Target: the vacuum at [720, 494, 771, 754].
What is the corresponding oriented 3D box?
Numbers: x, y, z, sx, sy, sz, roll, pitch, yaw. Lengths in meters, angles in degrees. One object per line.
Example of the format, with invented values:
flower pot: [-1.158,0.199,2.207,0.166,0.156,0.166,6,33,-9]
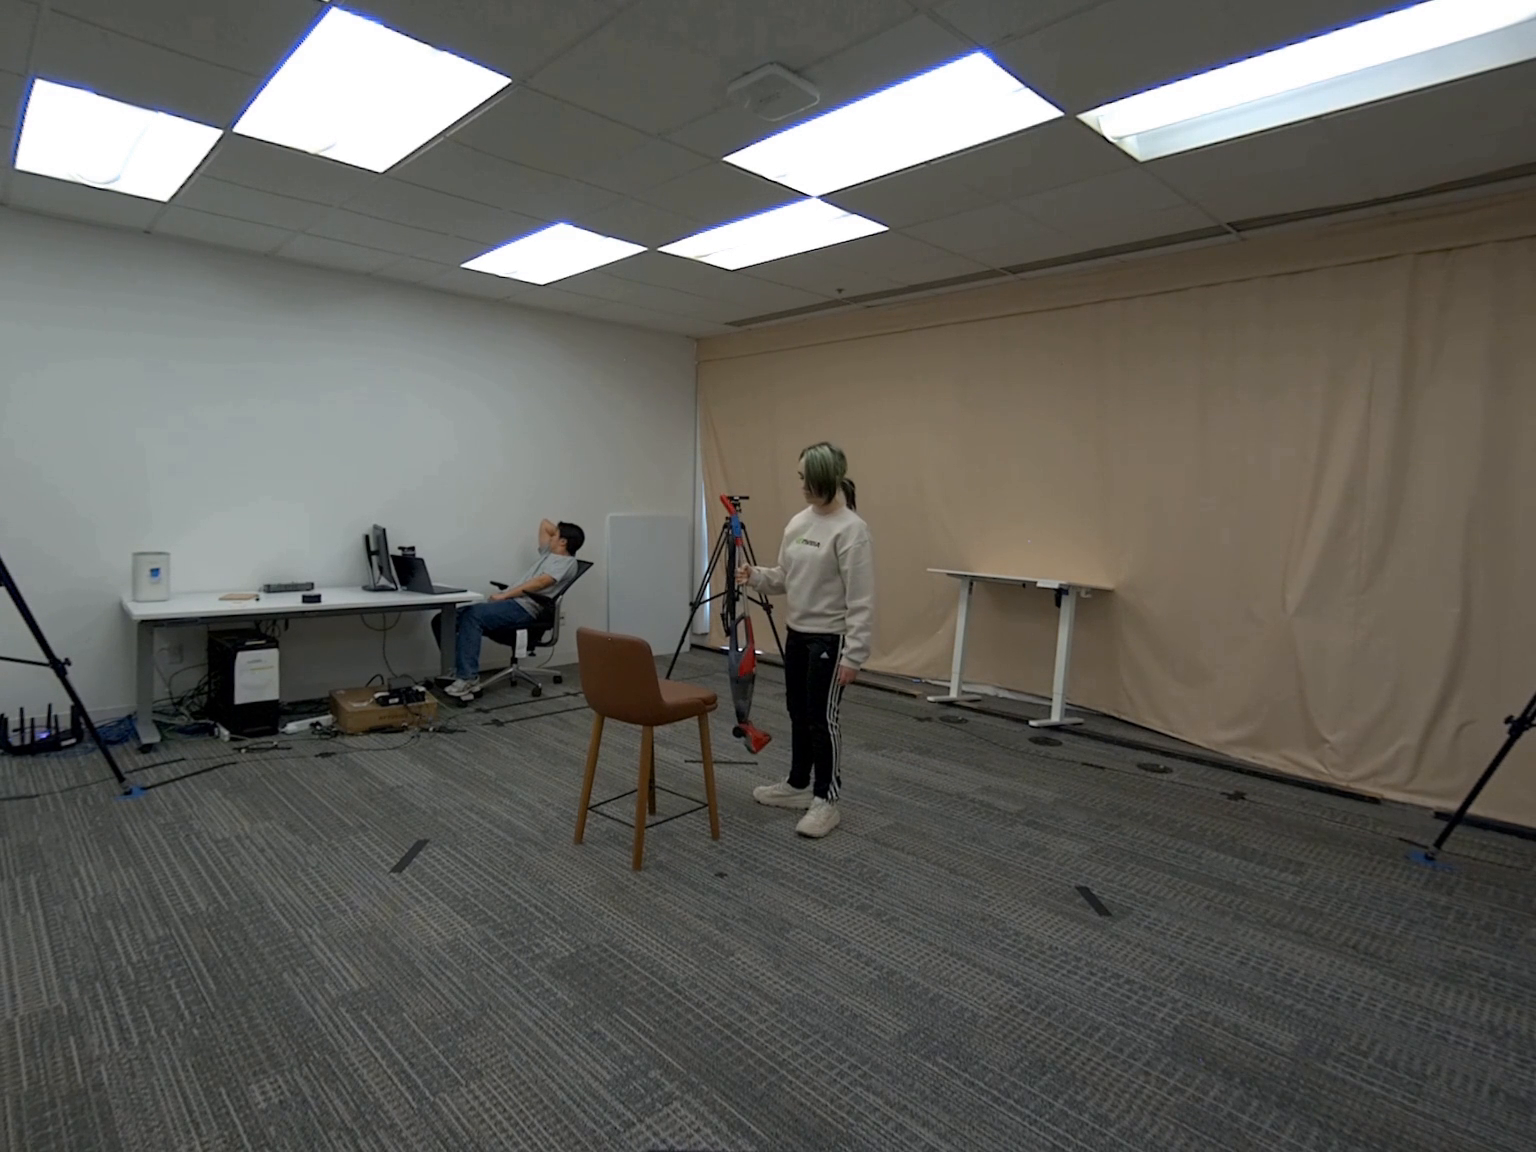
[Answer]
vacuum: [-0.138,0.178,3.643,0.146,1.051,0.248,-9,-2,25]
